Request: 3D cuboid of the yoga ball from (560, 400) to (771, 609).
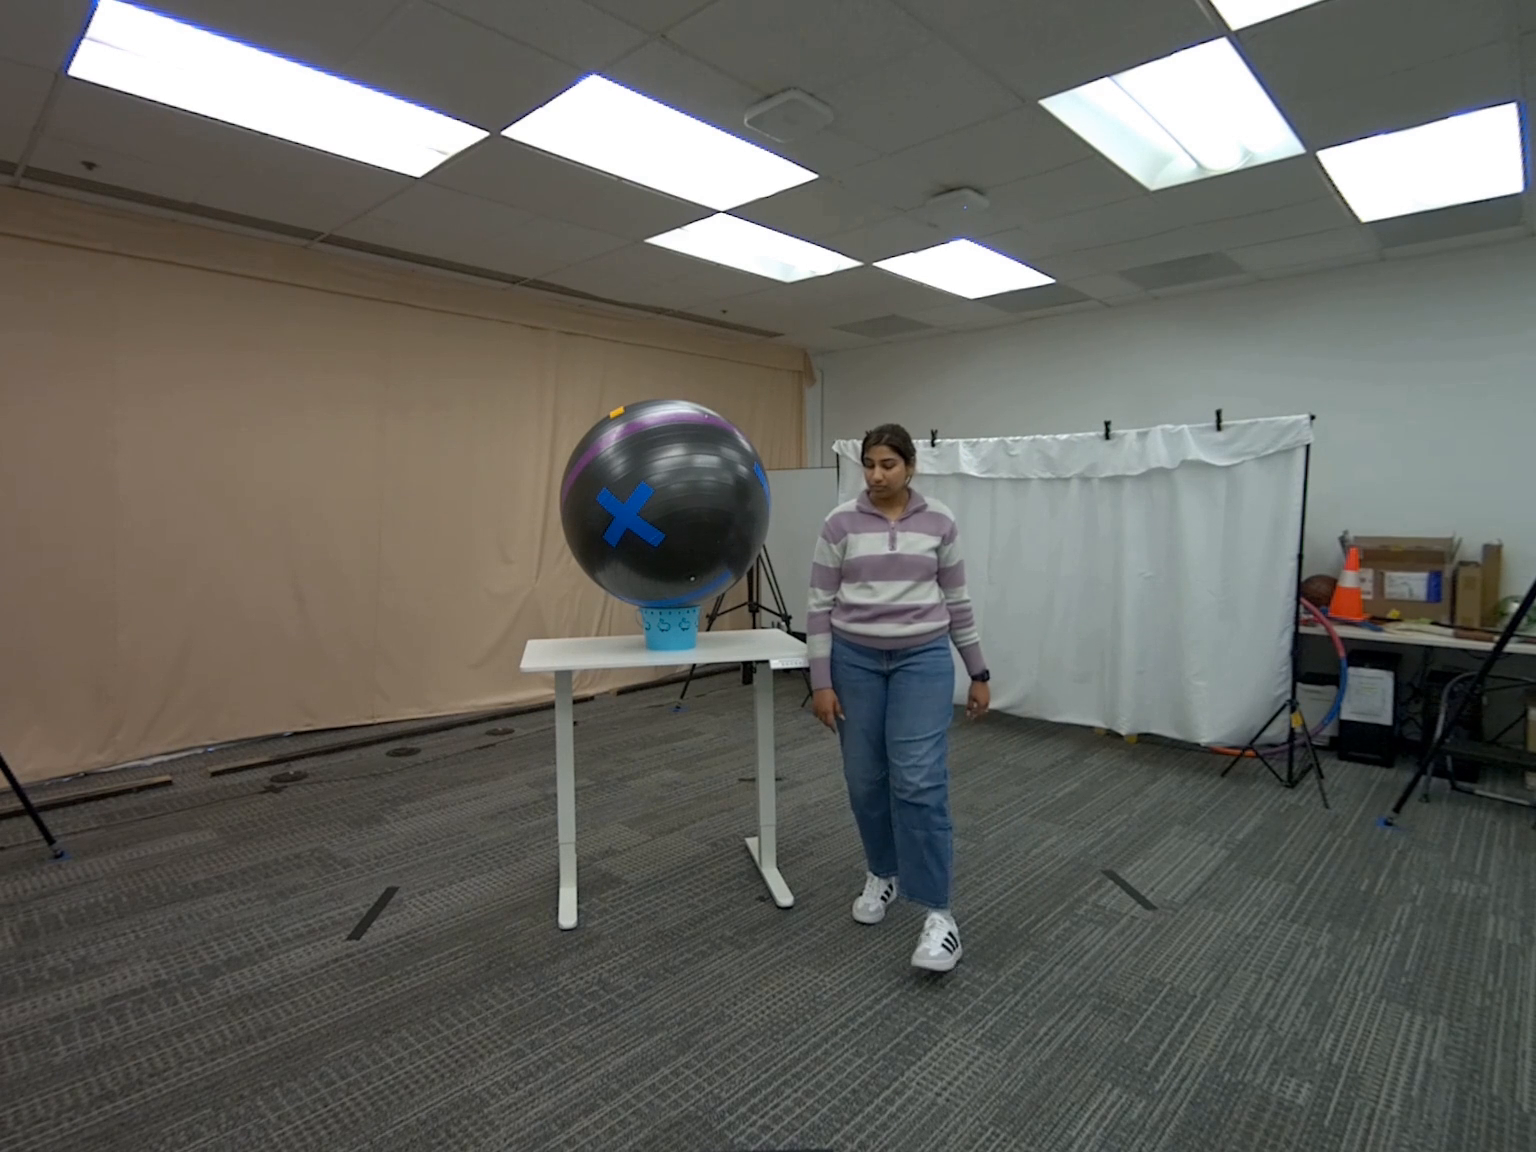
[{"bbox_3d":[-0.372,-0.253,3.044,0.757,0.756,0.760,0,4,-2],"label":"yoga ball"}]
